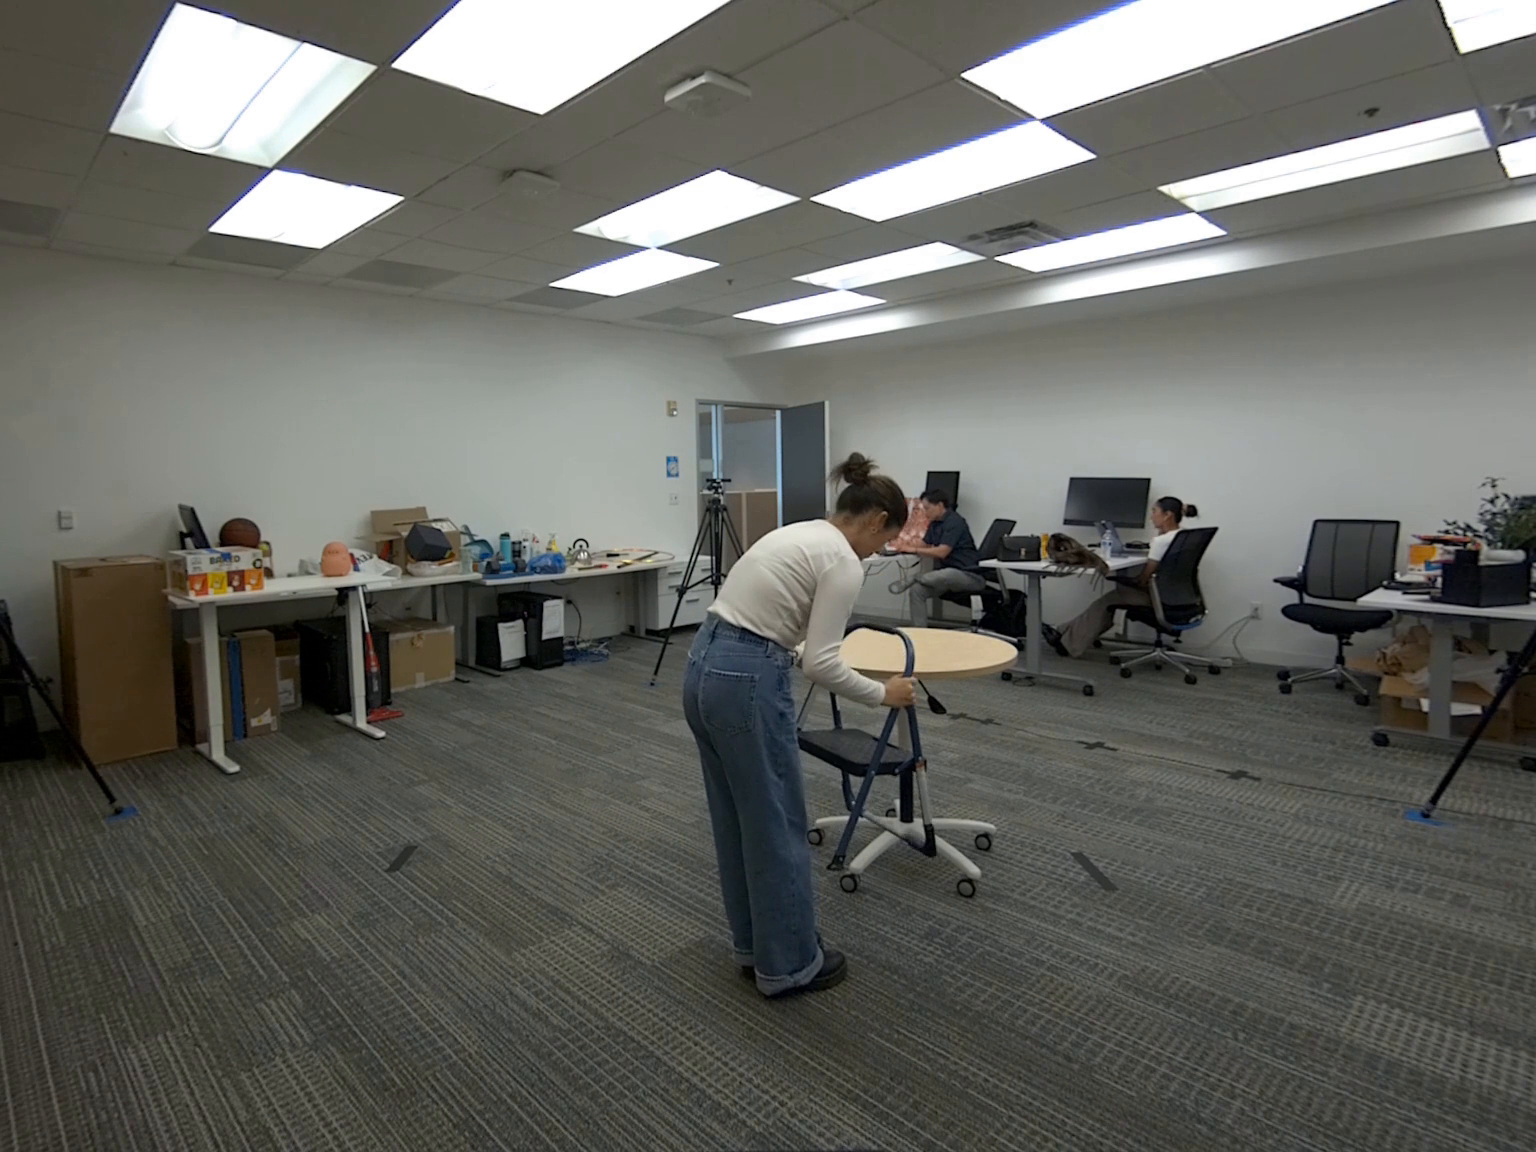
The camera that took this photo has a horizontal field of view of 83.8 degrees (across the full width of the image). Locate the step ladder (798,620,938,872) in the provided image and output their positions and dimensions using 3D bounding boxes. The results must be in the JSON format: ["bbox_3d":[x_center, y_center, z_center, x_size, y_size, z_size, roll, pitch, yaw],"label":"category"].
[{"bbox_3d":[0.239,0.441,2.422,0.340,0.606,0.442,4,1,-28],"label":"step ladder"}]
